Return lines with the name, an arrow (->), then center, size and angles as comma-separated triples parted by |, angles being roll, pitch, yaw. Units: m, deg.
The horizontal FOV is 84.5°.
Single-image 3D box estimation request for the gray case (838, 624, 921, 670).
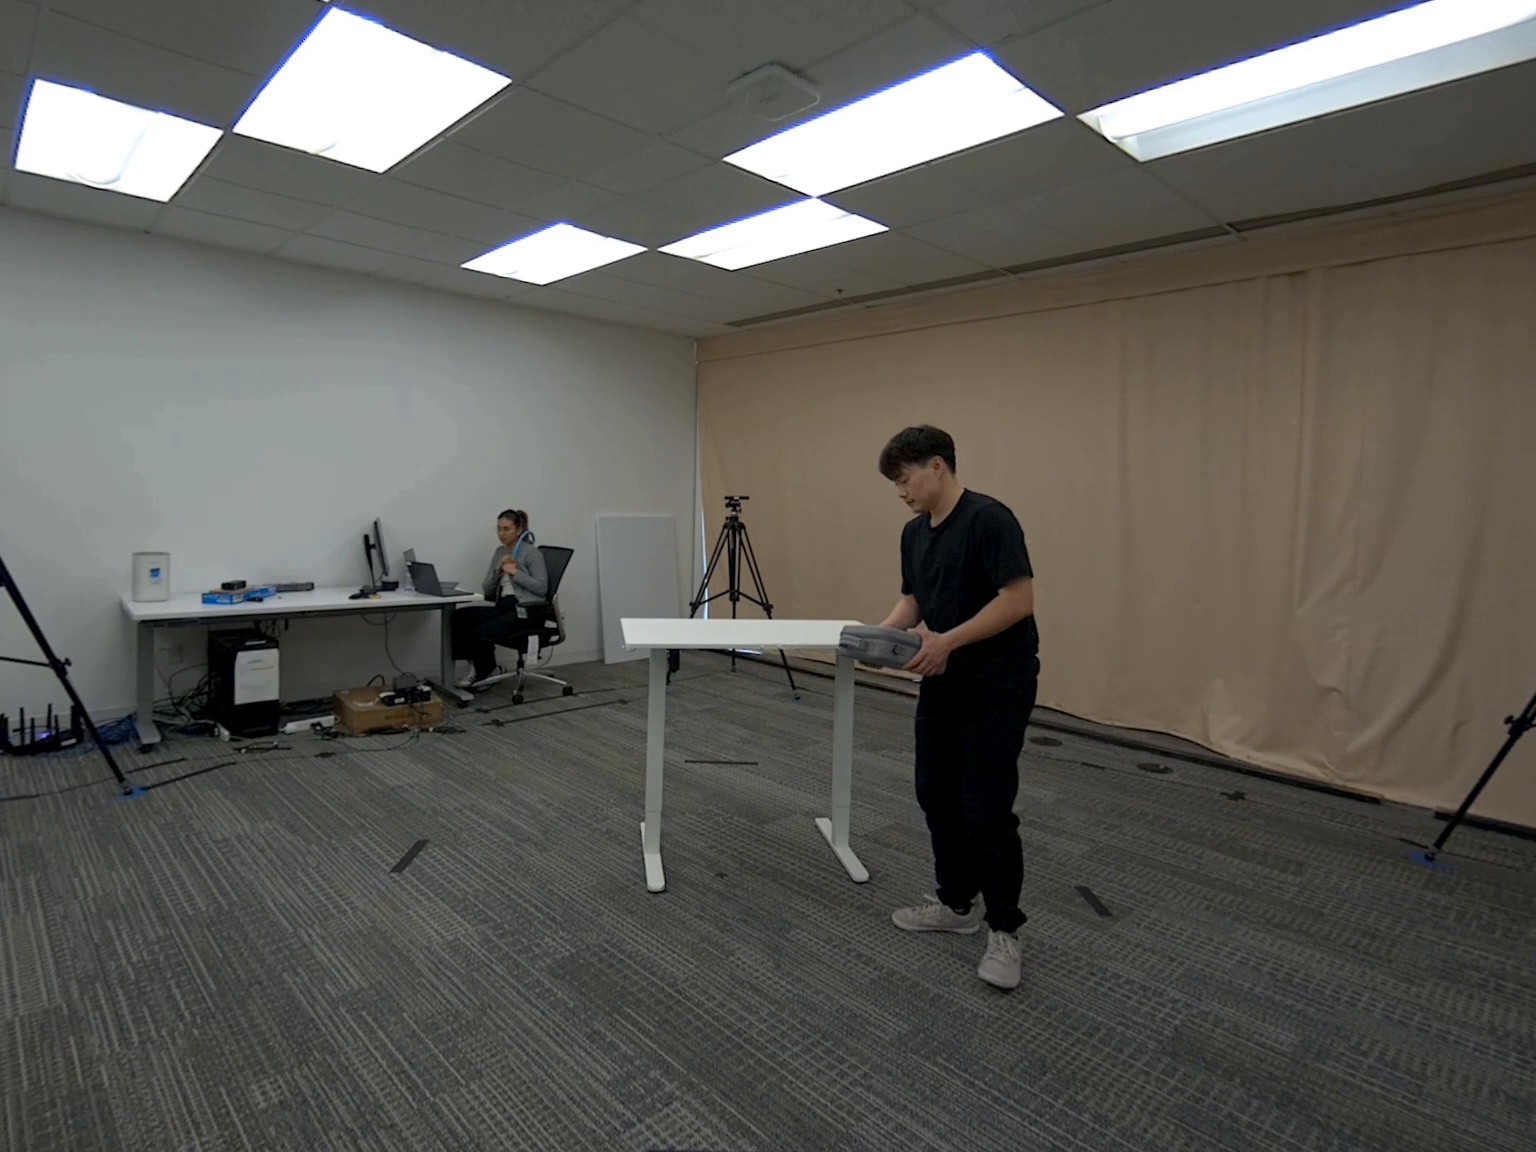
gray case -> 0.378, 0.224, 2.556 | 0.256, 0.105, 0.261 | 11, -6, -22
